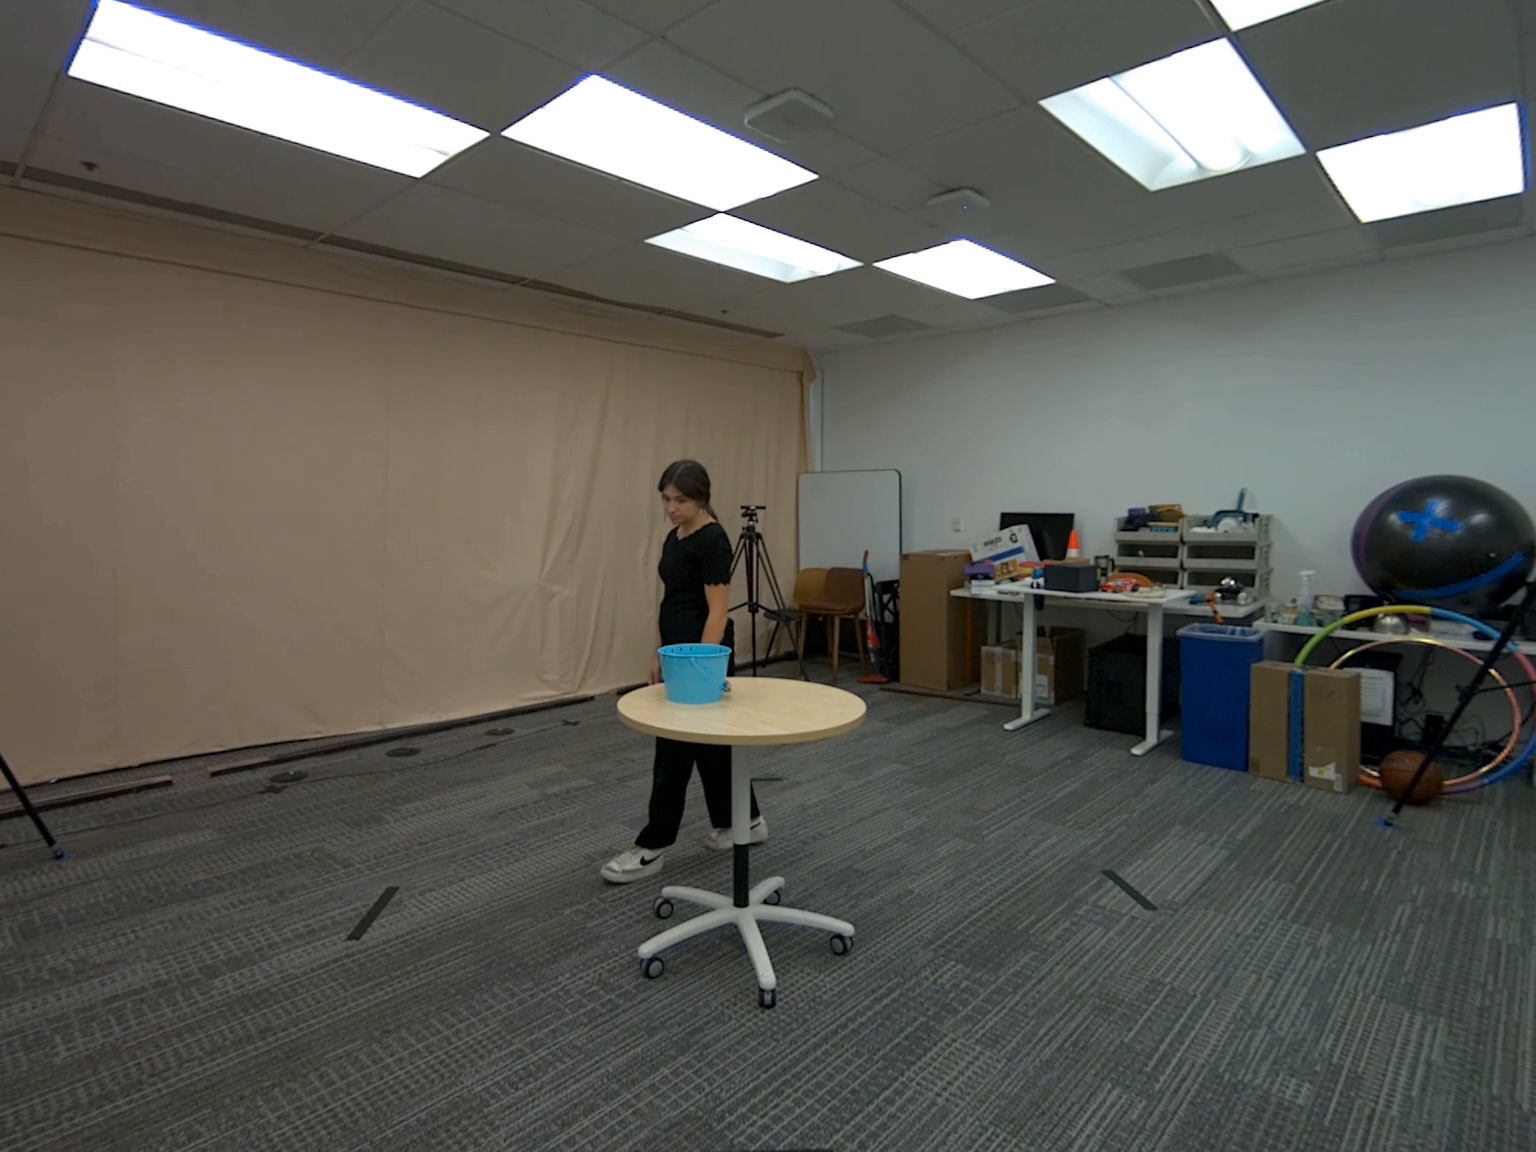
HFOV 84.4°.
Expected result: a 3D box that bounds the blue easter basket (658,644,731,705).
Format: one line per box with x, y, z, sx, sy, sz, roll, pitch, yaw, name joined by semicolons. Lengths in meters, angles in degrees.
-0.226;0.313;2.665;0.243;0.155;0.244;0;4;-2;blue easter basket
